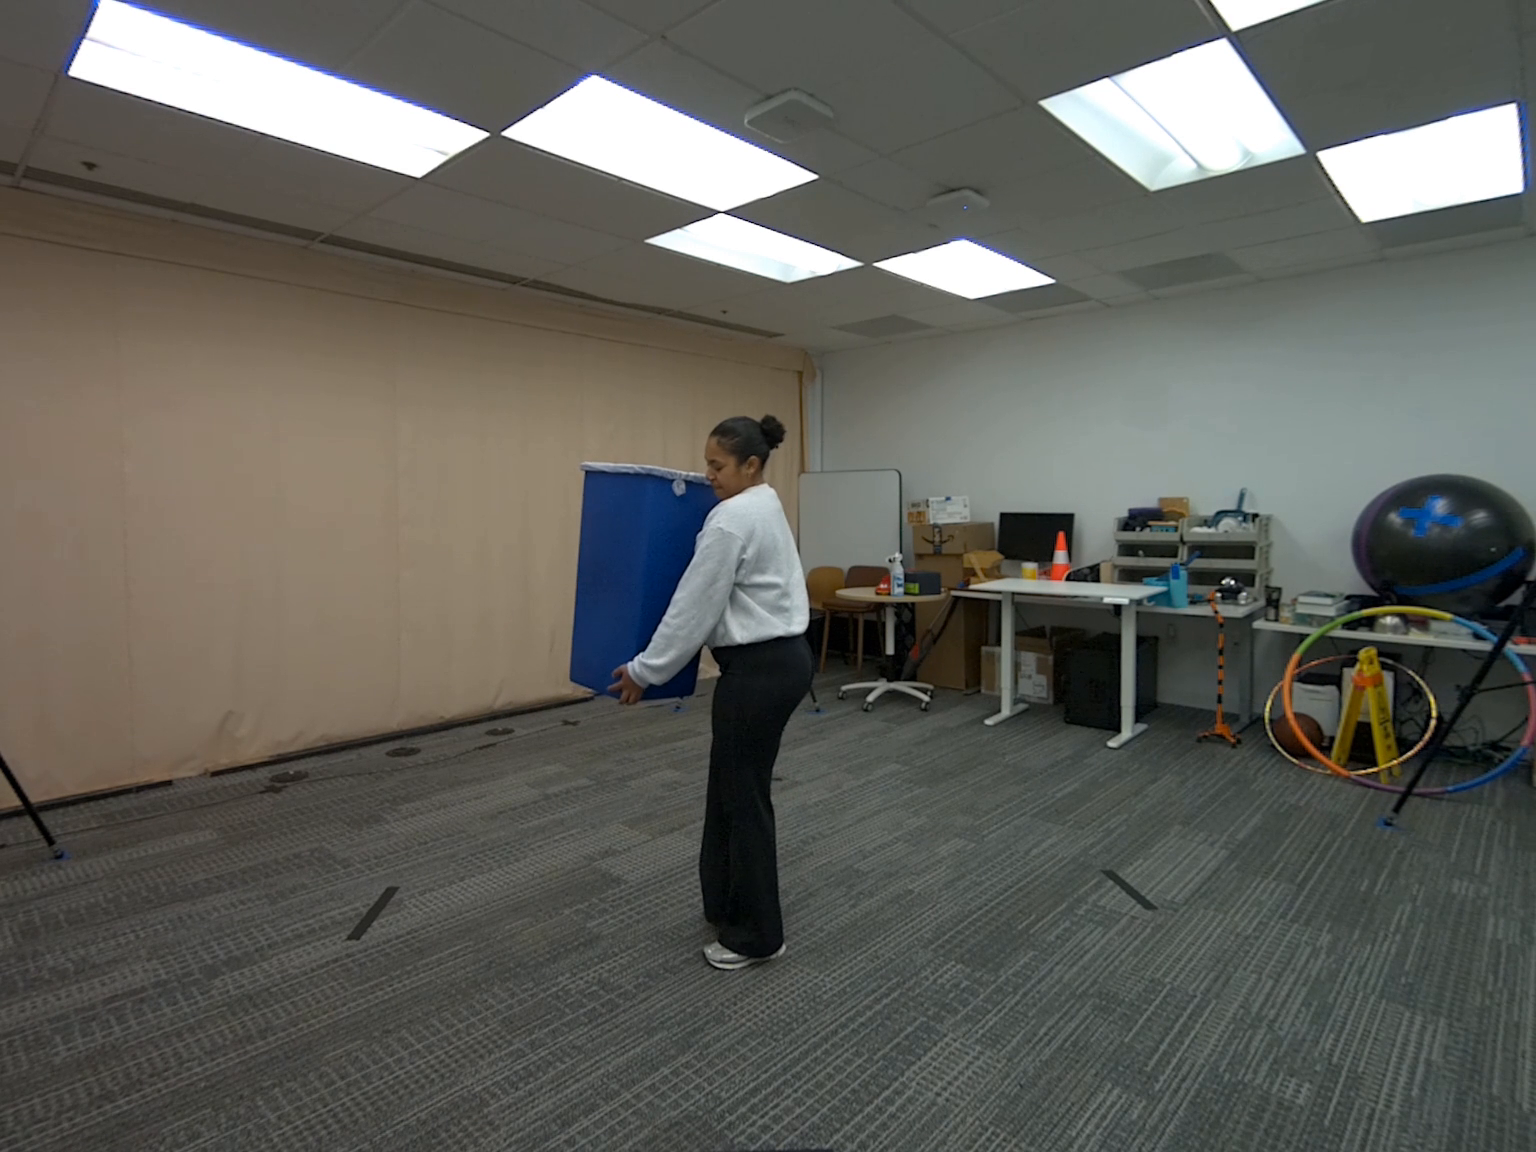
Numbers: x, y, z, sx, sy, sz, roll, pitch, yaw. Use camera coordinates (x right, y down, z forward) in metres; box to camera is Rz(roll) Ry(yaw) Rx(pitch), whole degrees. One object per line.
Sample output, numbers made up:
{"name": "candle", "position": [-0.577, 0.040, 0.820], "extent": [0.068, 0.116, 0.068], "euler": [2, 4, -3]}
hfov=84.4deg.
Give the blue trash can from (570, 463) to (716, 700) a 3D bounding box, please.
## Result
{"name": "blue trash can", "position": [-0.402, 0.011, 2.756], "extent": [0.391, 0.712, 0.362], "euler": [10, 4, 41]}
